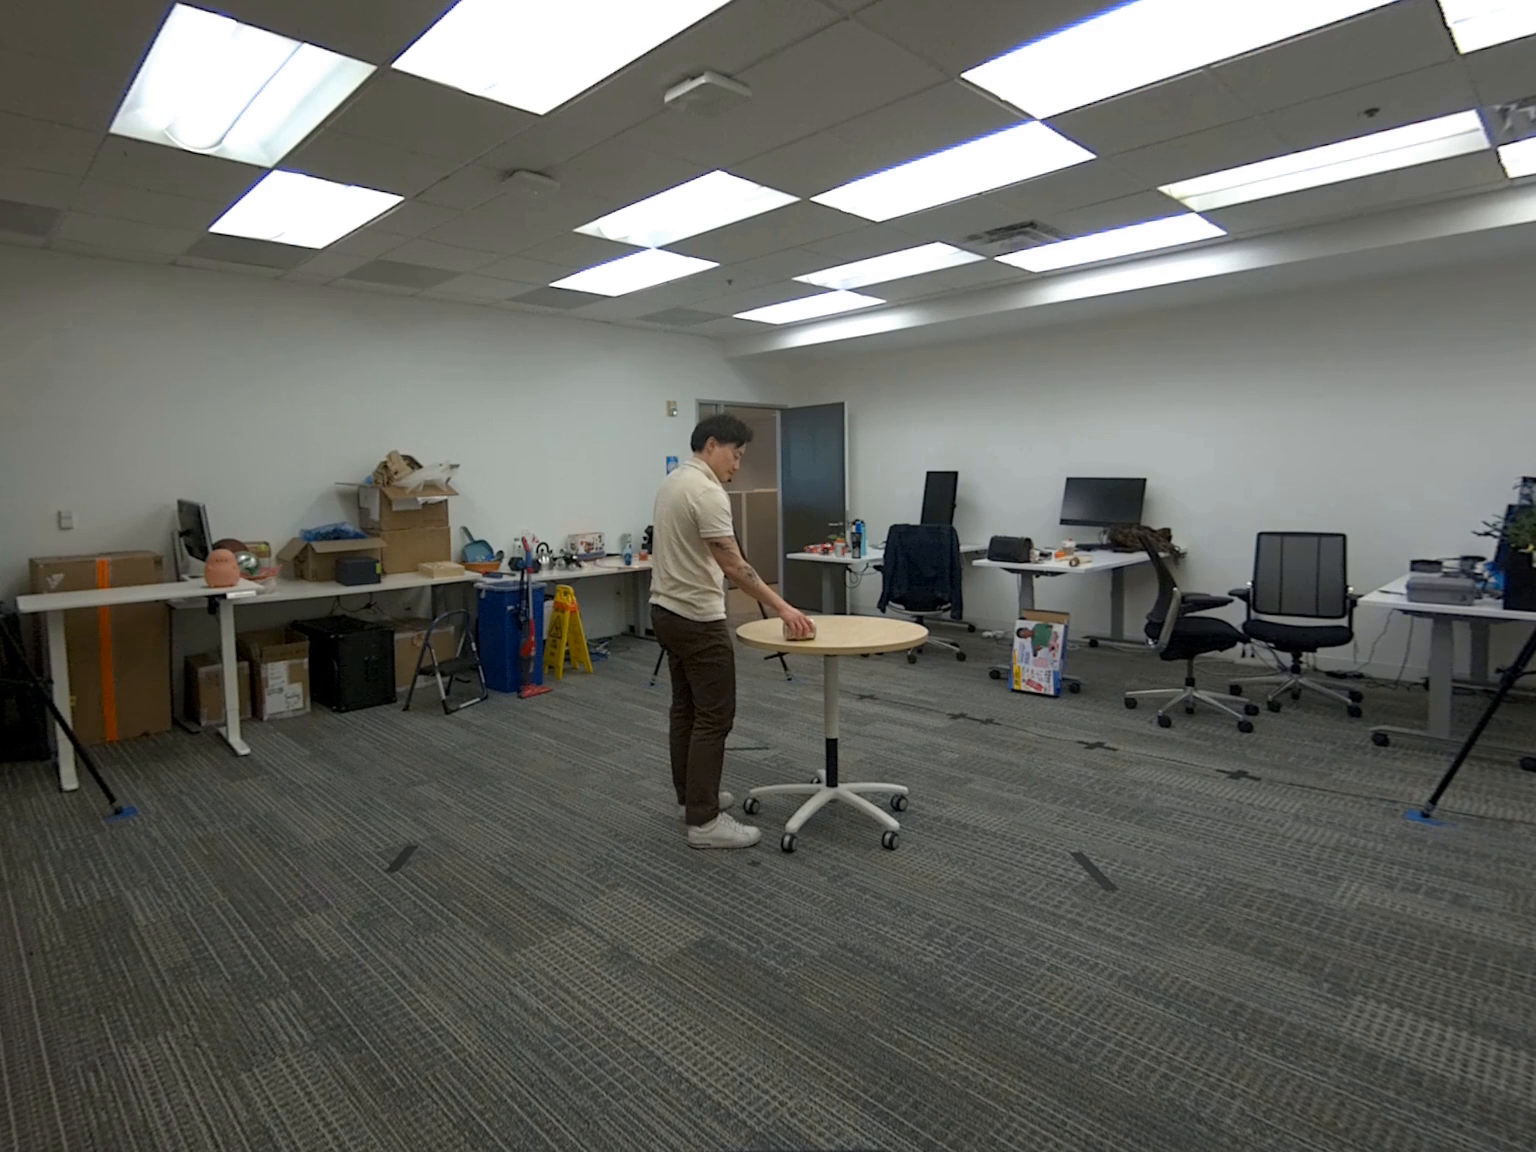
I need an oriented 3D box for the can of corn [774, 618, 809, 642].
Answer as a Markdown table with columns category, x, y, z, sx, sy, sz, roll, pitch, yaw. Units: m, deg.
| category | x | y | z | sx | sy | sz | roll | pitch | yaw |
| --- | --- | --- | --- | --- | --- | --- | --- | --- | --- |
| can of corn | 0.118 | 0.204 | 3.232 | 0.110 | 0.074 | 0.075 | -6 | 5 | -5 |
